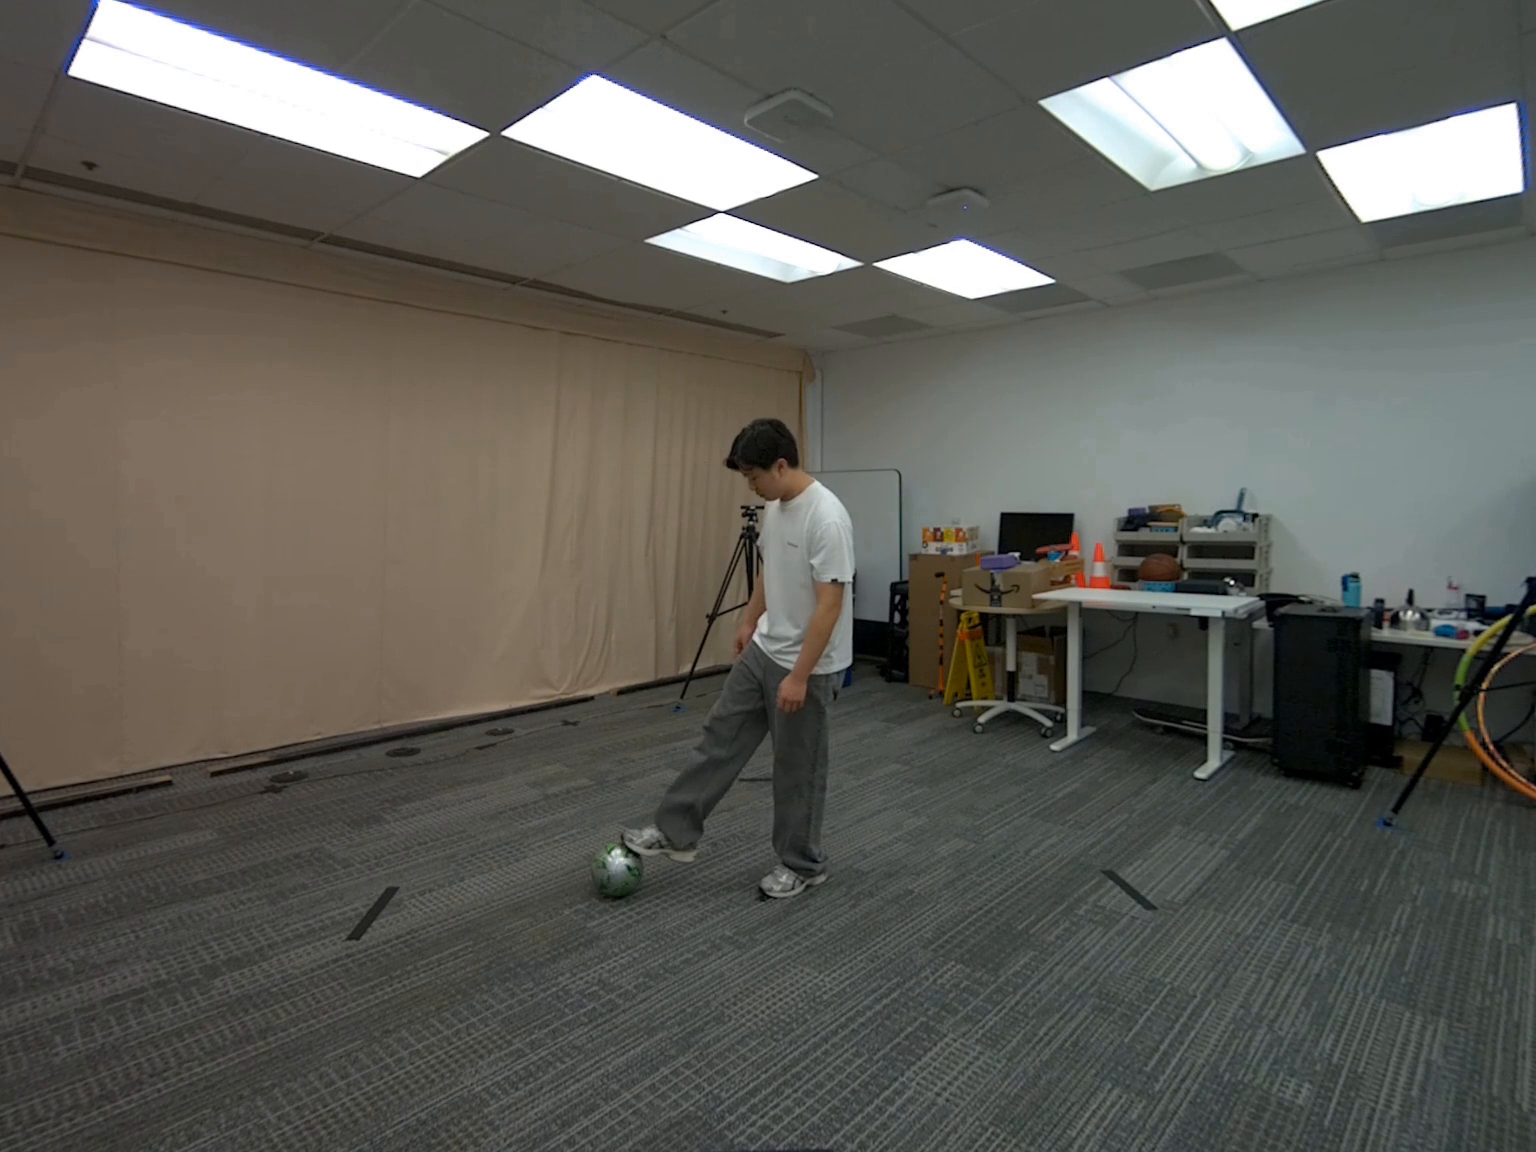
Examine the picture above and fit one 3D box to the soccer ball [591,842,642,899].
[{"bbox_3d":[-0.515,1.060,3.034,0.187,0.187,0.188,0,4,-2],"label":"soccer ball"}]
